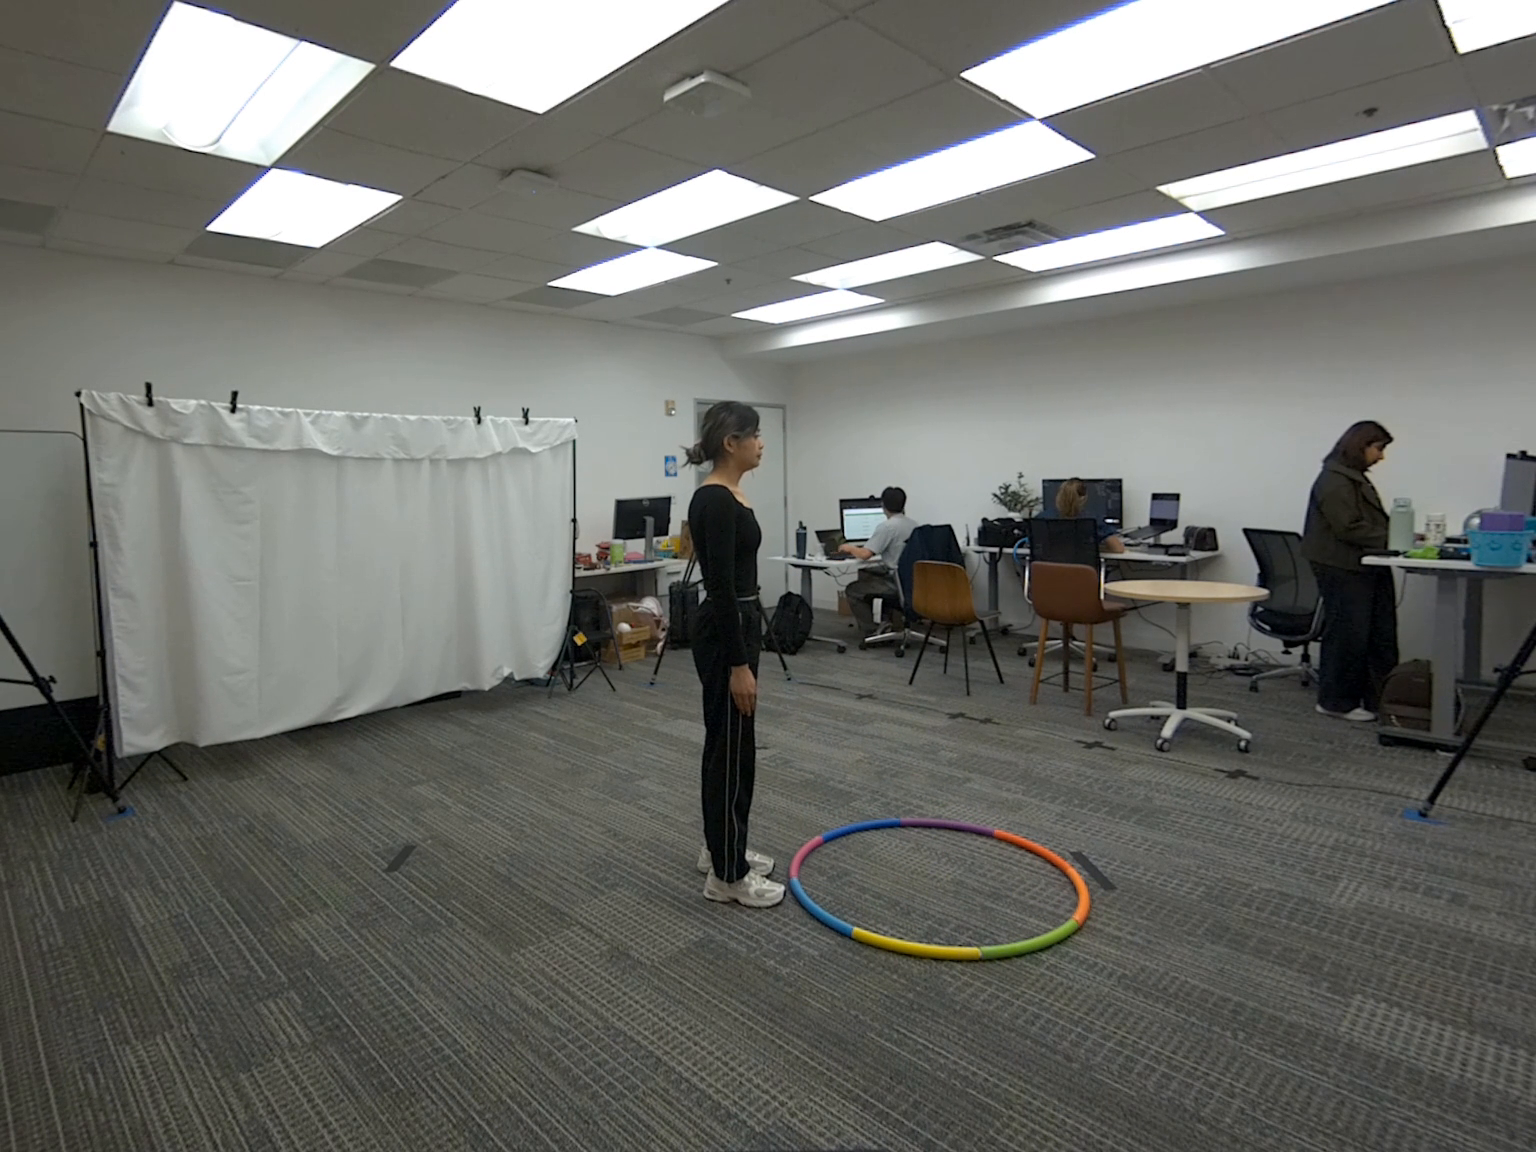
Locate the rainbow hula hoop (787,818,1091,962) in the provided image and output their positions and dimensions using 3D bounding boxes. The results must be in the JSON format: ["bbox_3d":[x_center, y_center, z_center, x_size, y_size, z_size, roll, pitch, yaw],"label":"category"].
[{"bbox_3d":[0.567,1.024,2.936,0.978,0.035,0.984,-2,6,-2],"label":"rainbow hula hoop"}]
